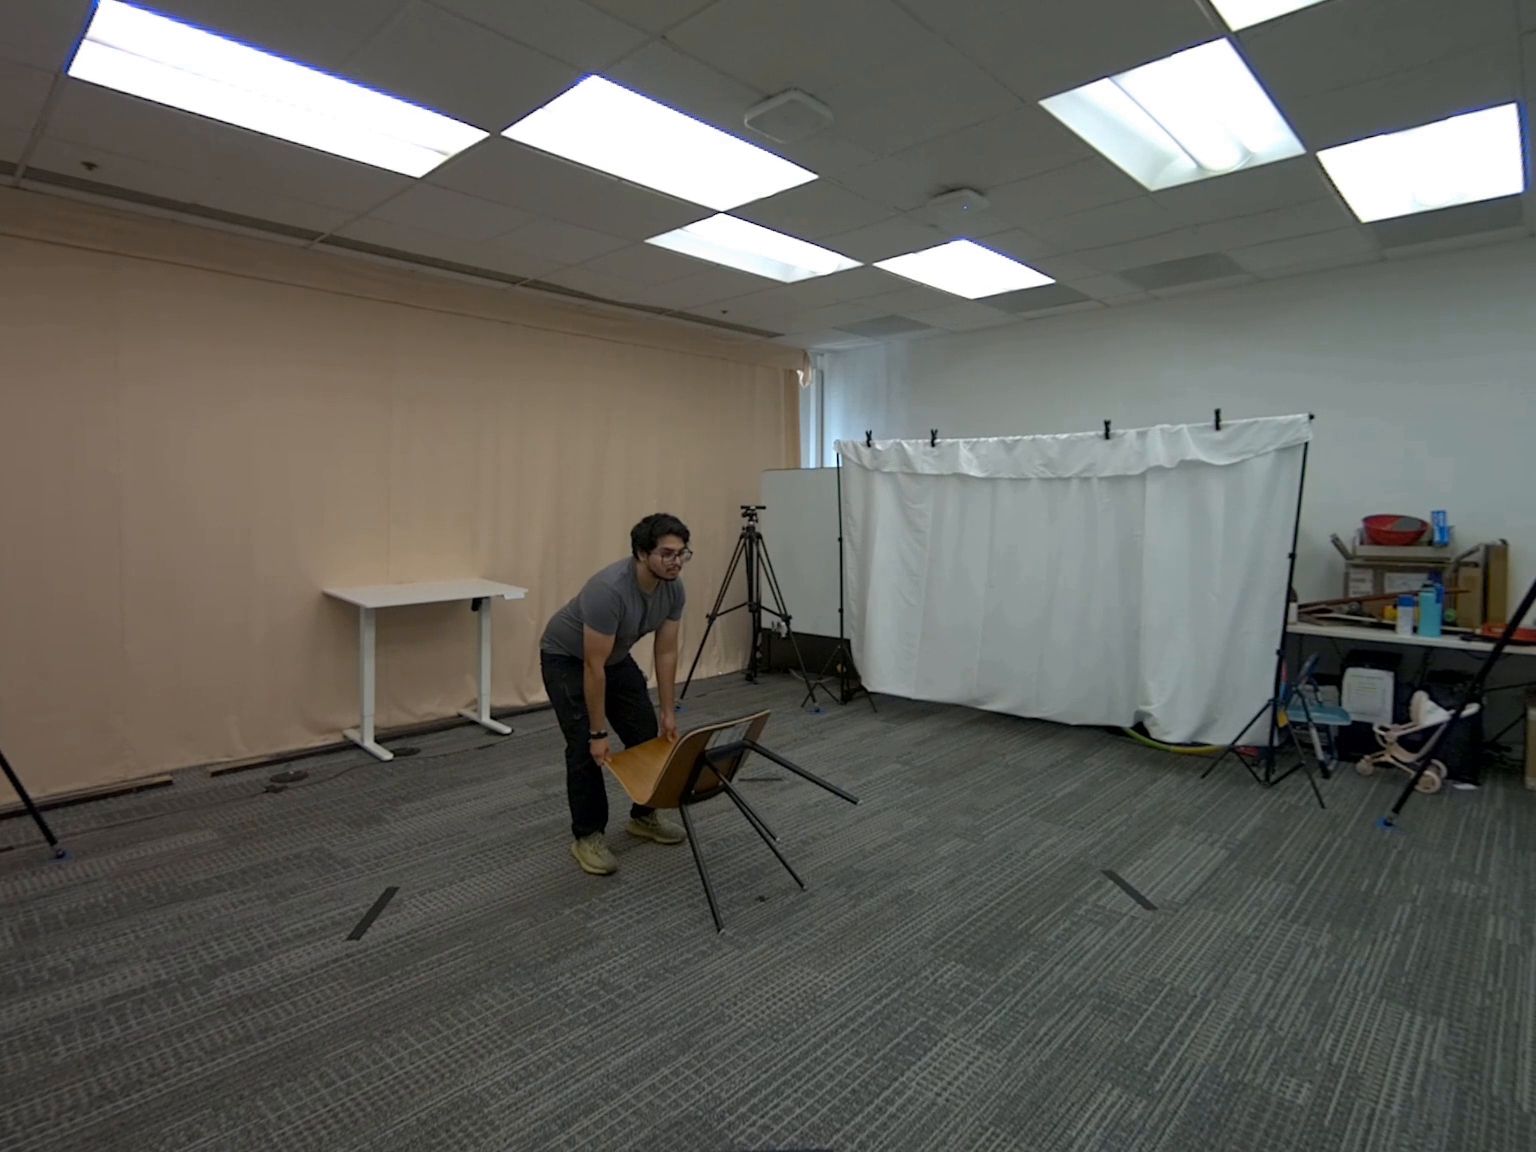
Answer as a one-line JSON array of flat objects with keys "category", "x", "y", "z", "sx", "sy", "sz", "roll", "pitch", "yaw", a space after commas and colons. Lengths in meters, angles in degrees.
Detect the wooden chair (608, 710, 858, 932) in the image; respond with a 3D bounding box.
[{"category": "wooden chair", "x": -0.187, "y": 0.714, "z": 3.033, "sx": 0.463, "sy": 0.521, "sz": 0.908, "roll": -5, "pitch": 34, "yaw": -48}]
